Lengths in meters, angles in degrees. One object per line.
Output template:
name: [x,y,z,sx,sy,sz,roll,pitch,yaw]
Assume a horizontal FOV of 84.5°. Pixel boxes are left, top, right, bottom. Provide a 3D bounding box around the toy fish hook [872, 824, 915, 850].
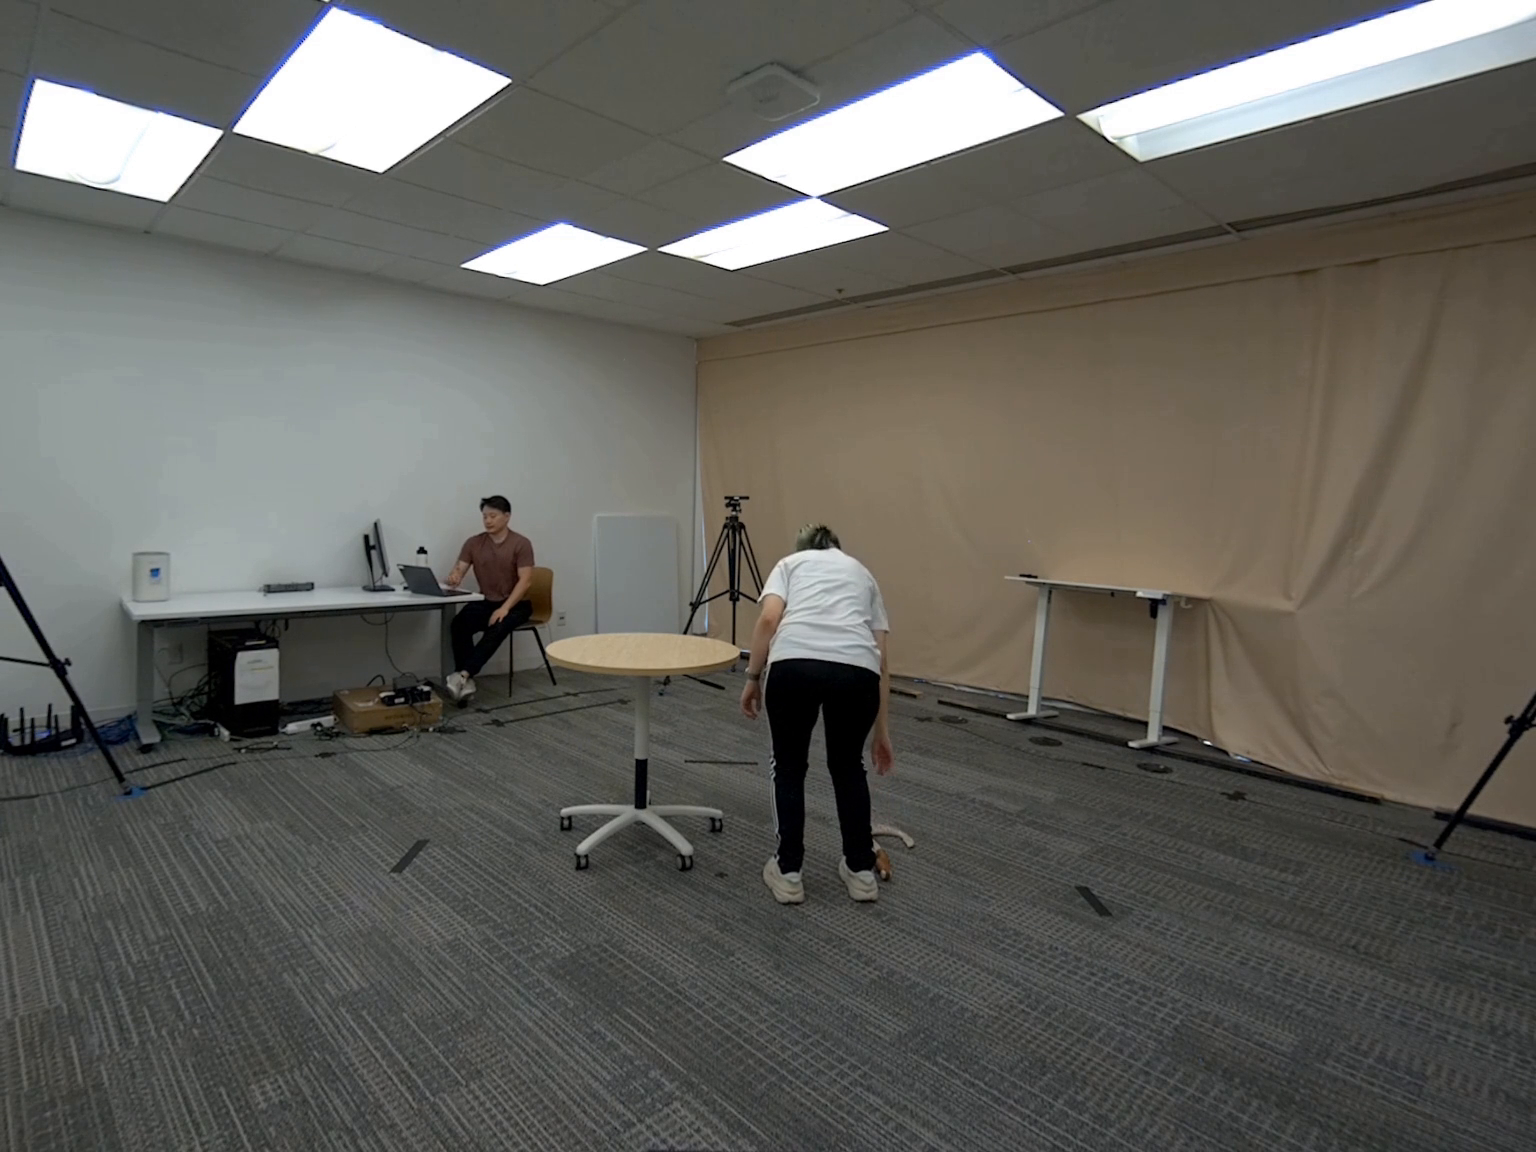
toy fish hook: [0.480,1.082,3.320,0.225,0.048,0.508,0,5,-1]
